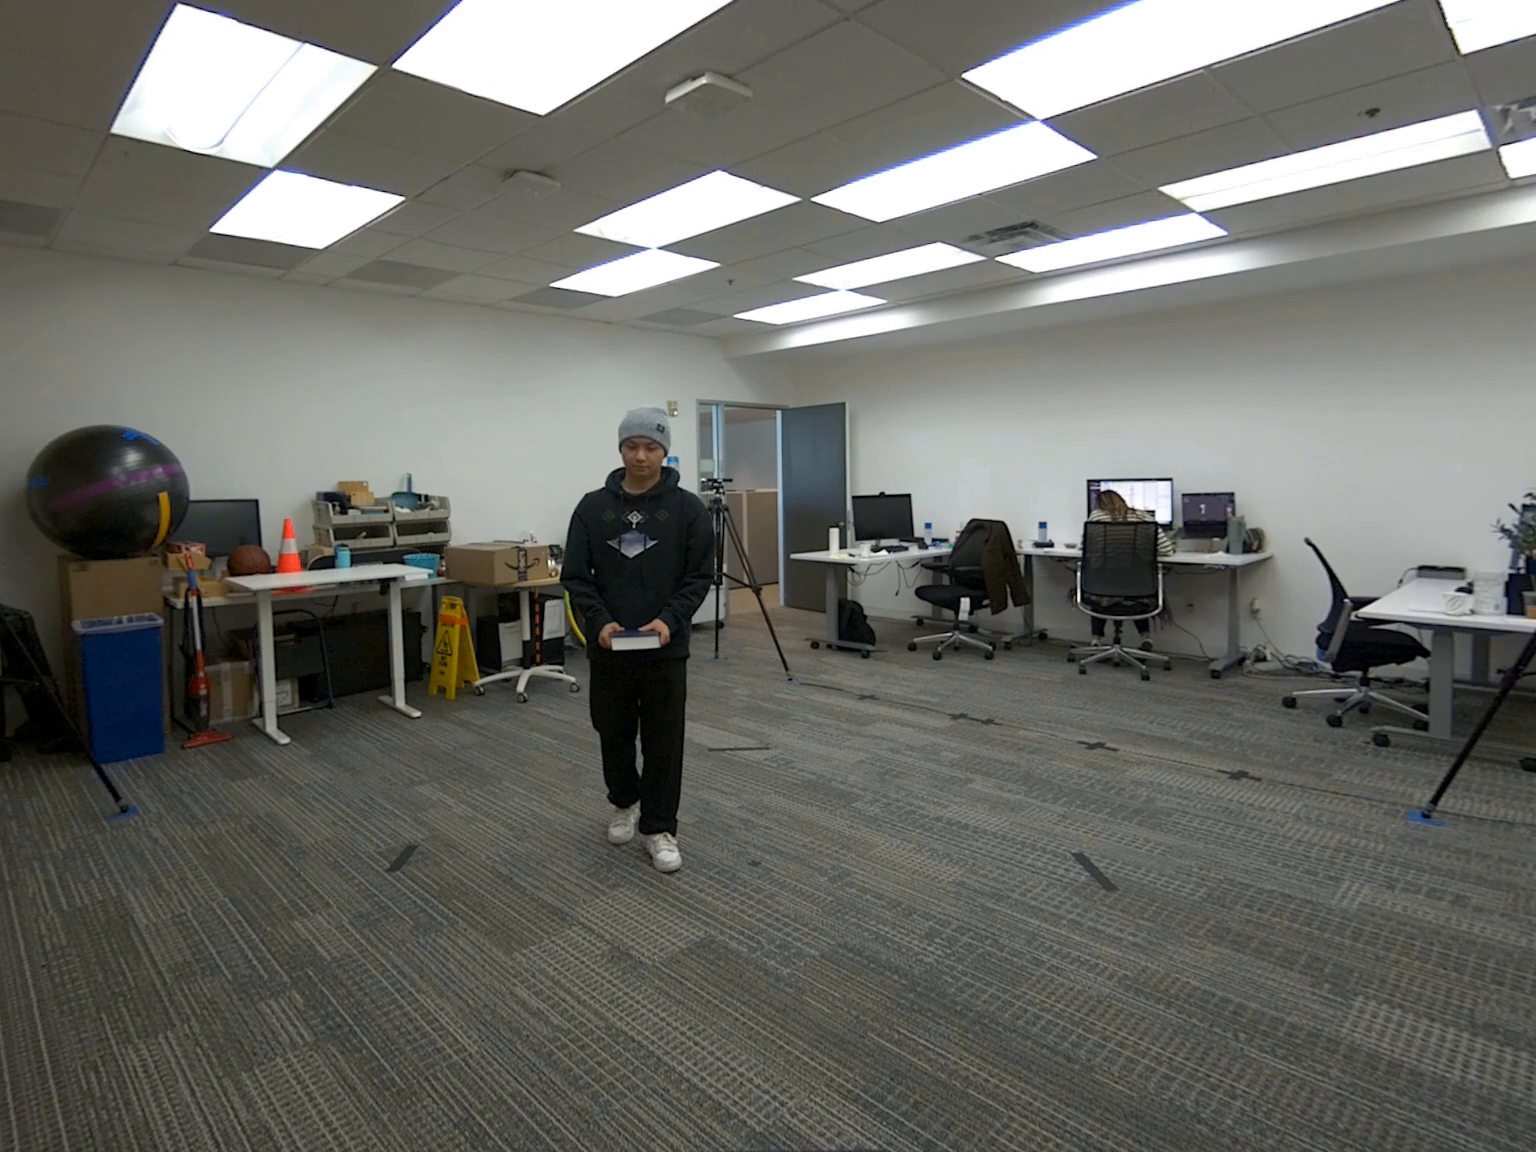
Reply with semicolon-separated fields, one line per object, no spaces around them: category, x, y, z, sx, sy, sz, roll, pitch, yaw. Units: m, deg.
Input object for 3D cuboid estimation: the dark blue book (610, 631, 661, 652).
dark blue book;-0.469;0.215;2.886;0.162;0.045;0.248;-2;2;-12
